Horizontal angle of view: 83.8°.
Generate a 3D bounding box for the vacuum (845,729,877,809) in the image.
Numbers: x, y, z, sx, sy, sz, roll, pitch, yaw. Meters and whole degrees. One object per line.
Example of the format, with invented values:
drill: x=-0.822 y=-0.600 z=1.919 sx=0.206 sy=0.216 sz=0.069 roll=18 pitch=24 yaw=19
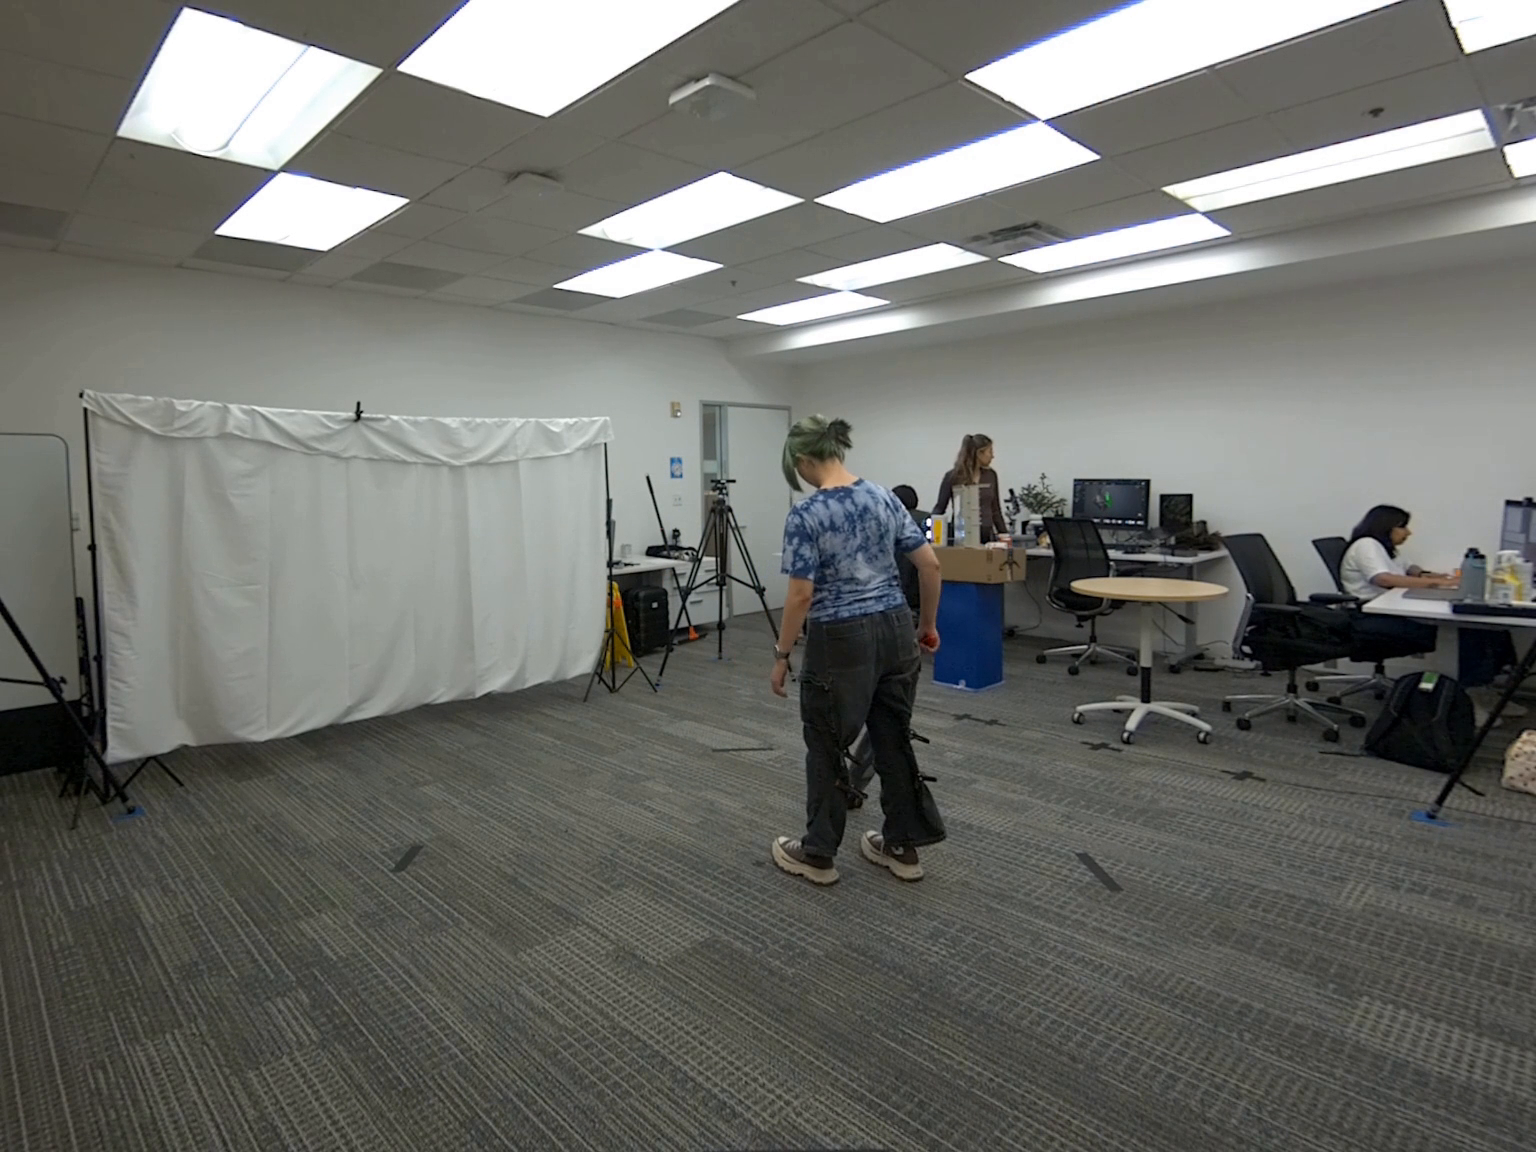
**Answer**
vacuum: x=0.453 y=0.599 z=3.322 sx=0.247 sy=0.149 sz=1.034 roll=-3 pitch=-41 yaw=-26
